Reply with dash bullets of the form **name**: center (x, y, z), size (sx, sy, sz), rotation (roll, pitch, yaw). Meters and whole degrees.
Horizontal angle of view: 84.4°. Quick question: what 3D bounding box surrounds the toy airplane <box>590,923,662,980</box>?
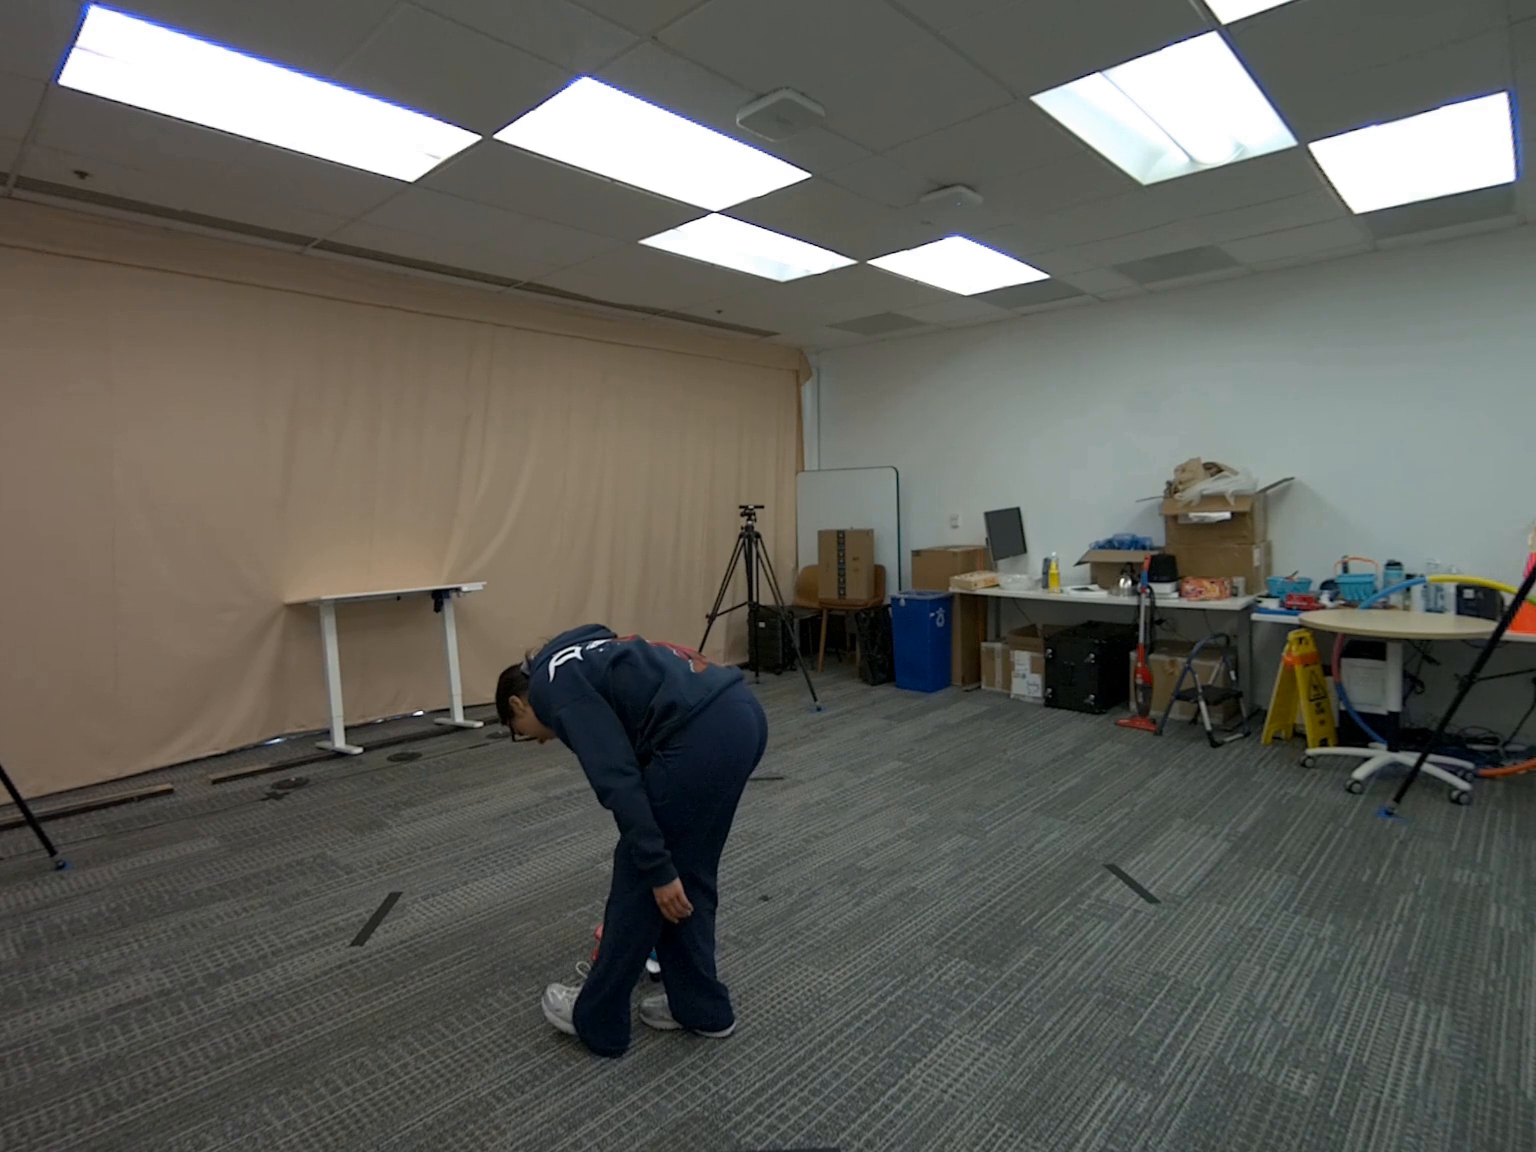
- **toy airplane**: center (-0.384, 1.113, 2.552), size (0.262, 0.156, 0.249), rotation (-2, 5, 8)
